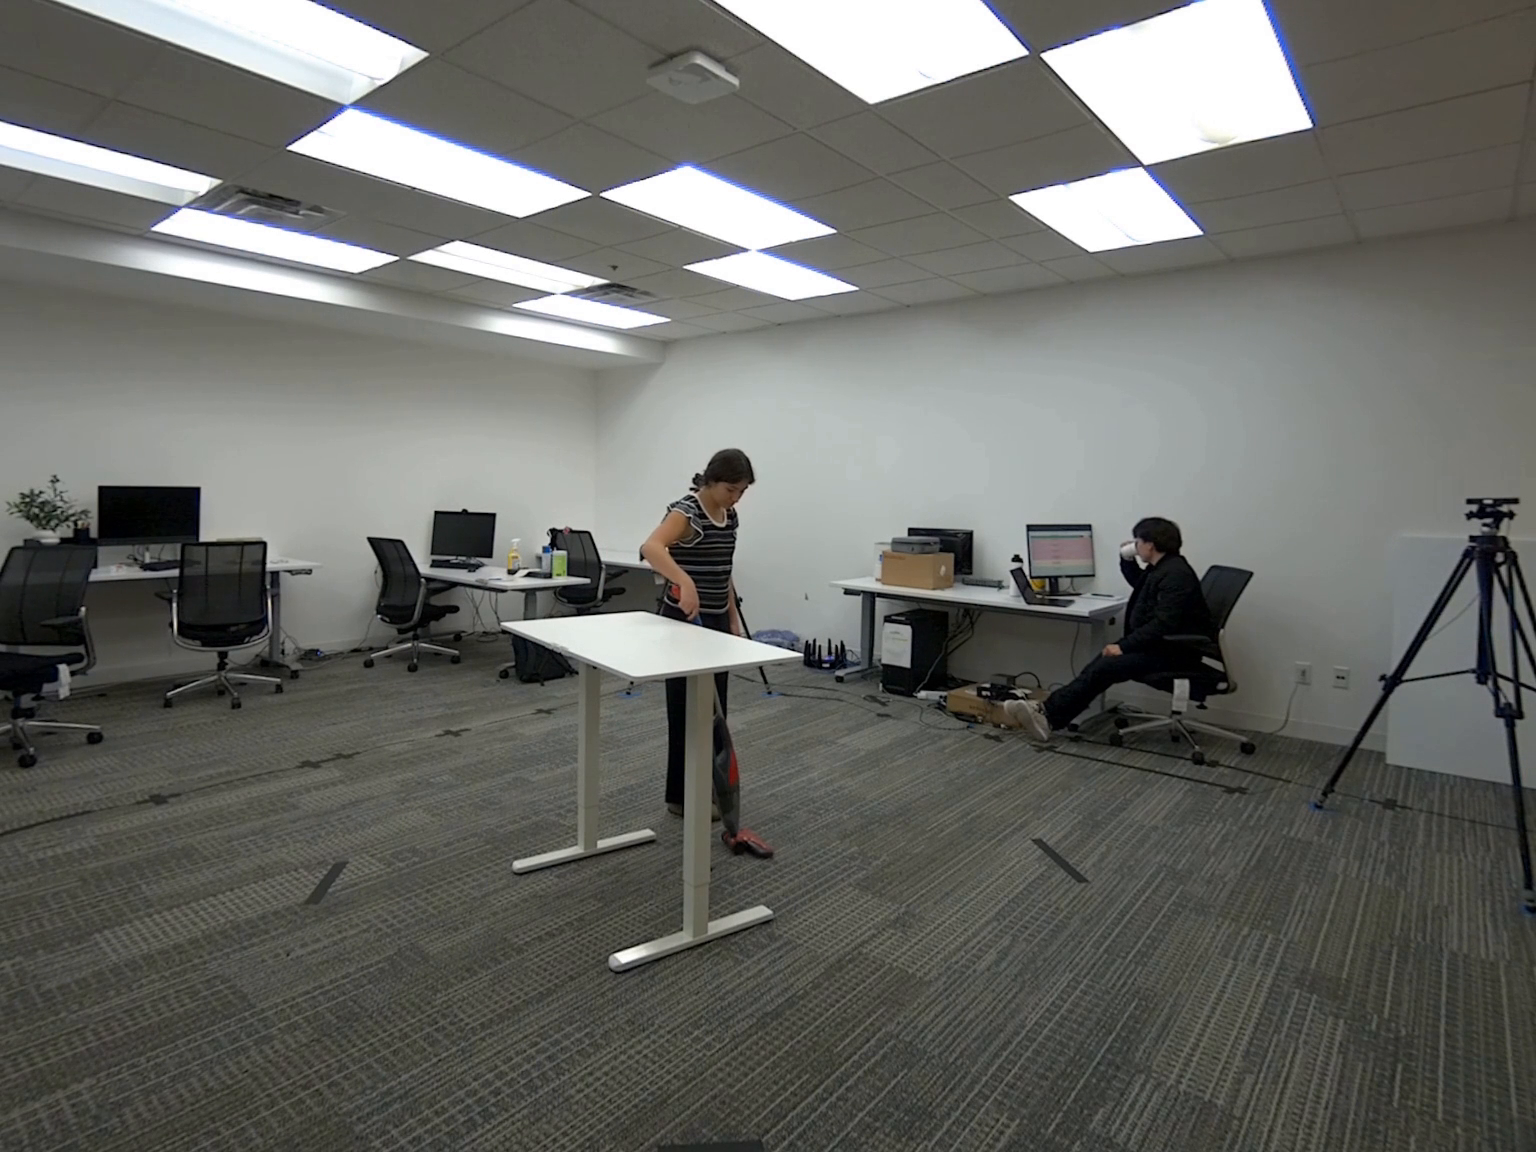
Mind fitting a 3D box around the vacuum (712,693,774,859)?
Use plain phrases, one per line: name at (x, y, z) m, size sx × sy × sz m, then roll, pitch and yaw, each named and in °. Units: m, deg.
vacuum at (-0.221, 0.562, 3.271) m, size 0.141 × 1.045 × 0.258 m, roll -16°, pitch 3°, yaw -25°
